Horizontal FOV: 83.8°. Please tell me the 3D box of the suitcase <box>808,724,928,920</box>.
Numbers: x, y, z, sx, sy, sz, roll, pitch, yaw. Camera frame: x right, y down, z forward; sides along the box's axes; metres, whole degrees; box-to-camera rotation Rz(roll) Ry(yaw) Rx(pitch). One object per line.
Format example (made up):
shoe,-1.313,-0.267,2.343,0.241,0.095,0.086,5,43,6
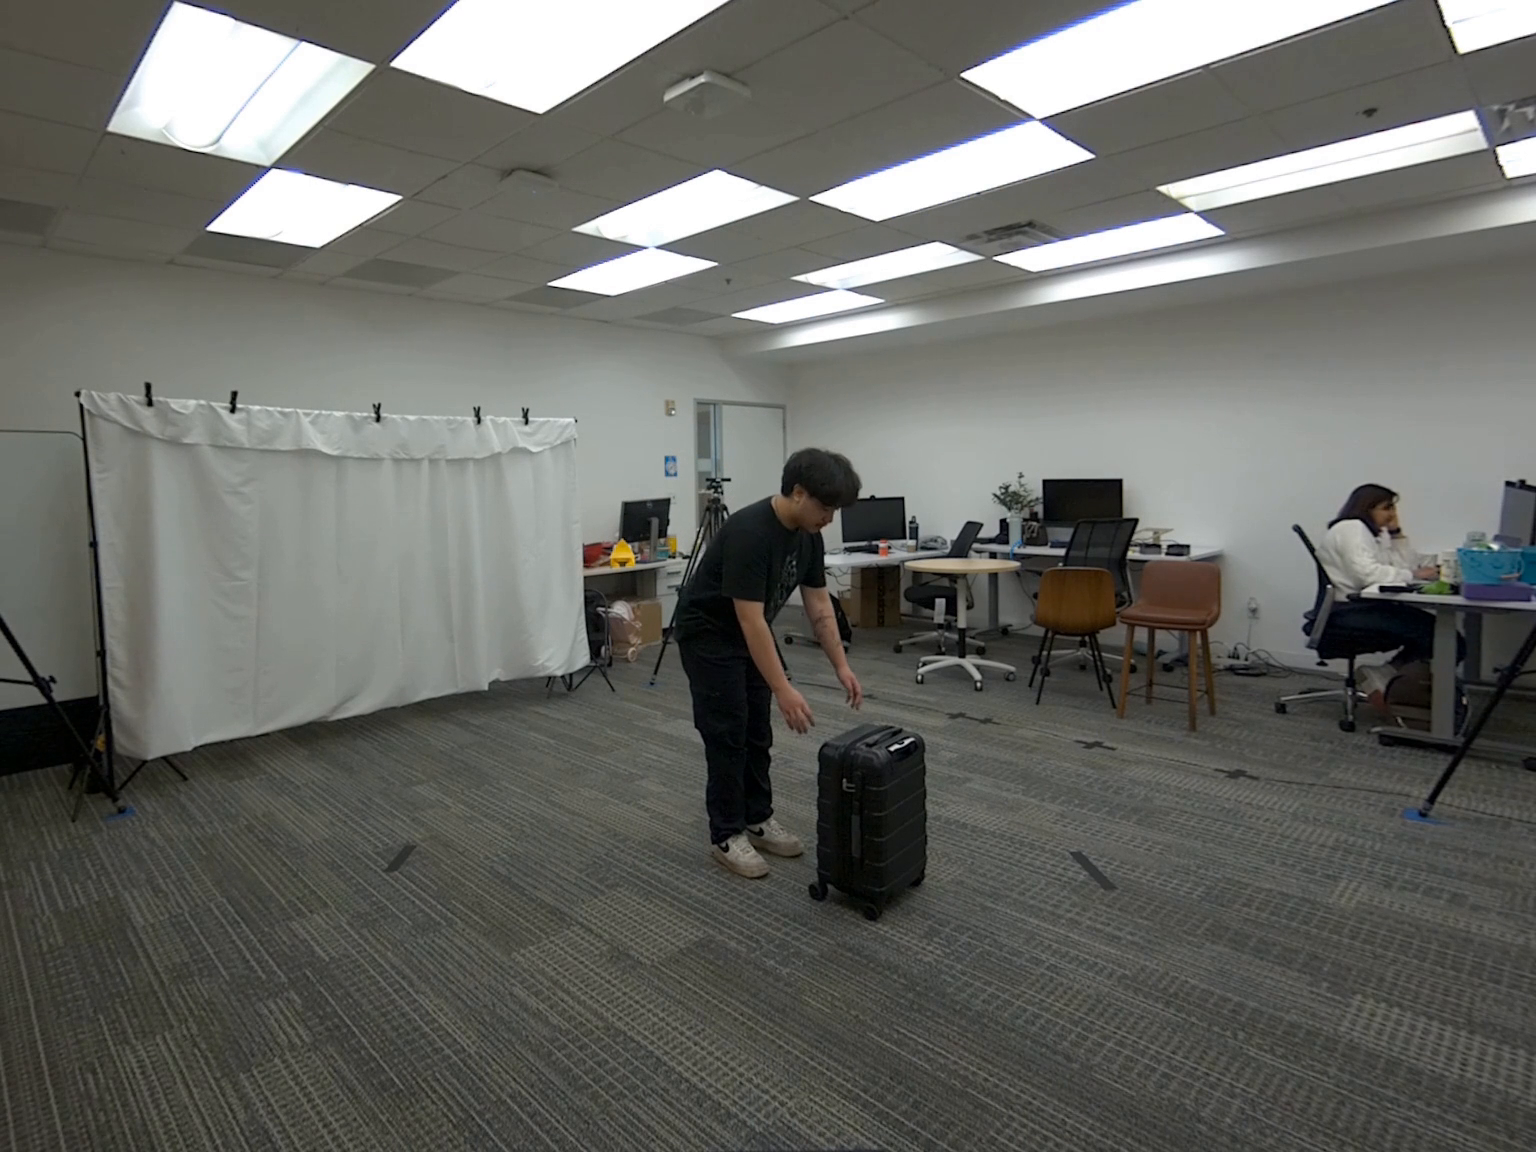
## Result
suitcase,0.351,0.790,2.845,0.256,0.547,0.366,3,6,37
